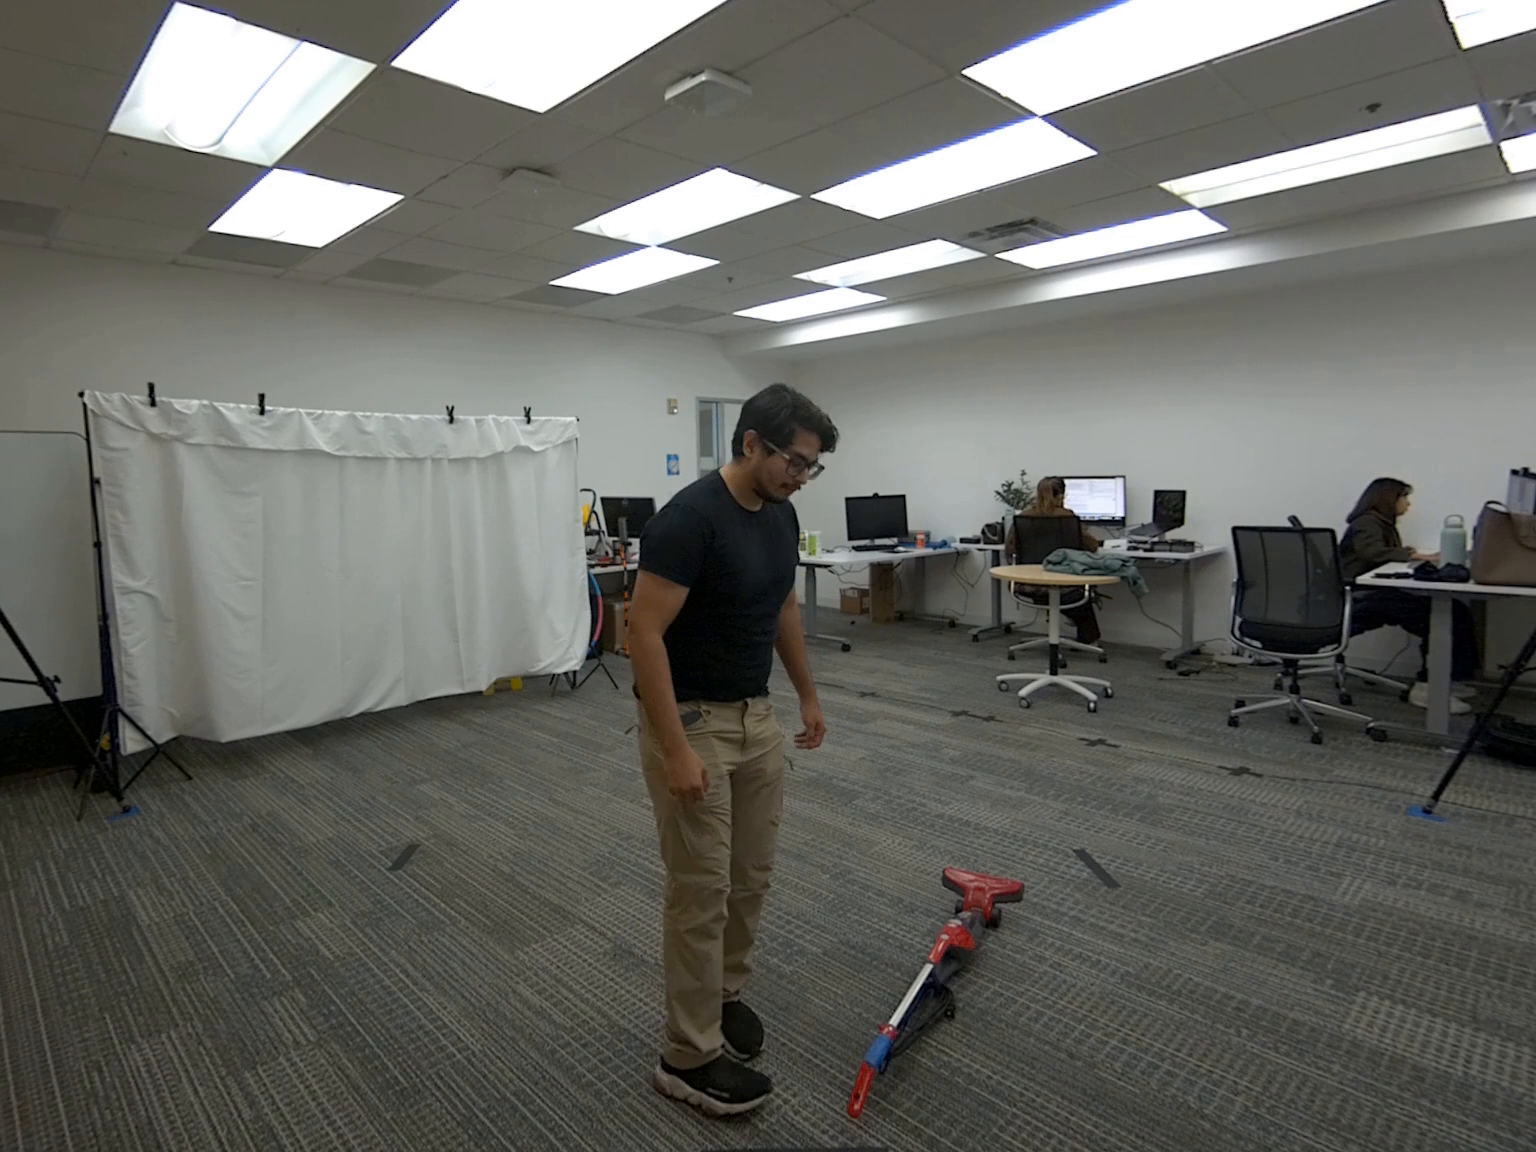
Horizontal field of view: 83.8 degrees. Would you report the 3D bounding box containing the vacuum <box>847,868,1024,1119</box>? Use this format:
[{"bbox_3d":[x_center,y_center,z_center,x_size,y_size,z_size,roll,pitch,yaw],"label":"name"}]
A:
[{"bbox_3d":[0.437,1.070,2.246,0.259,0.143,1.027,2,7,29],"label":"vacuum"}]
